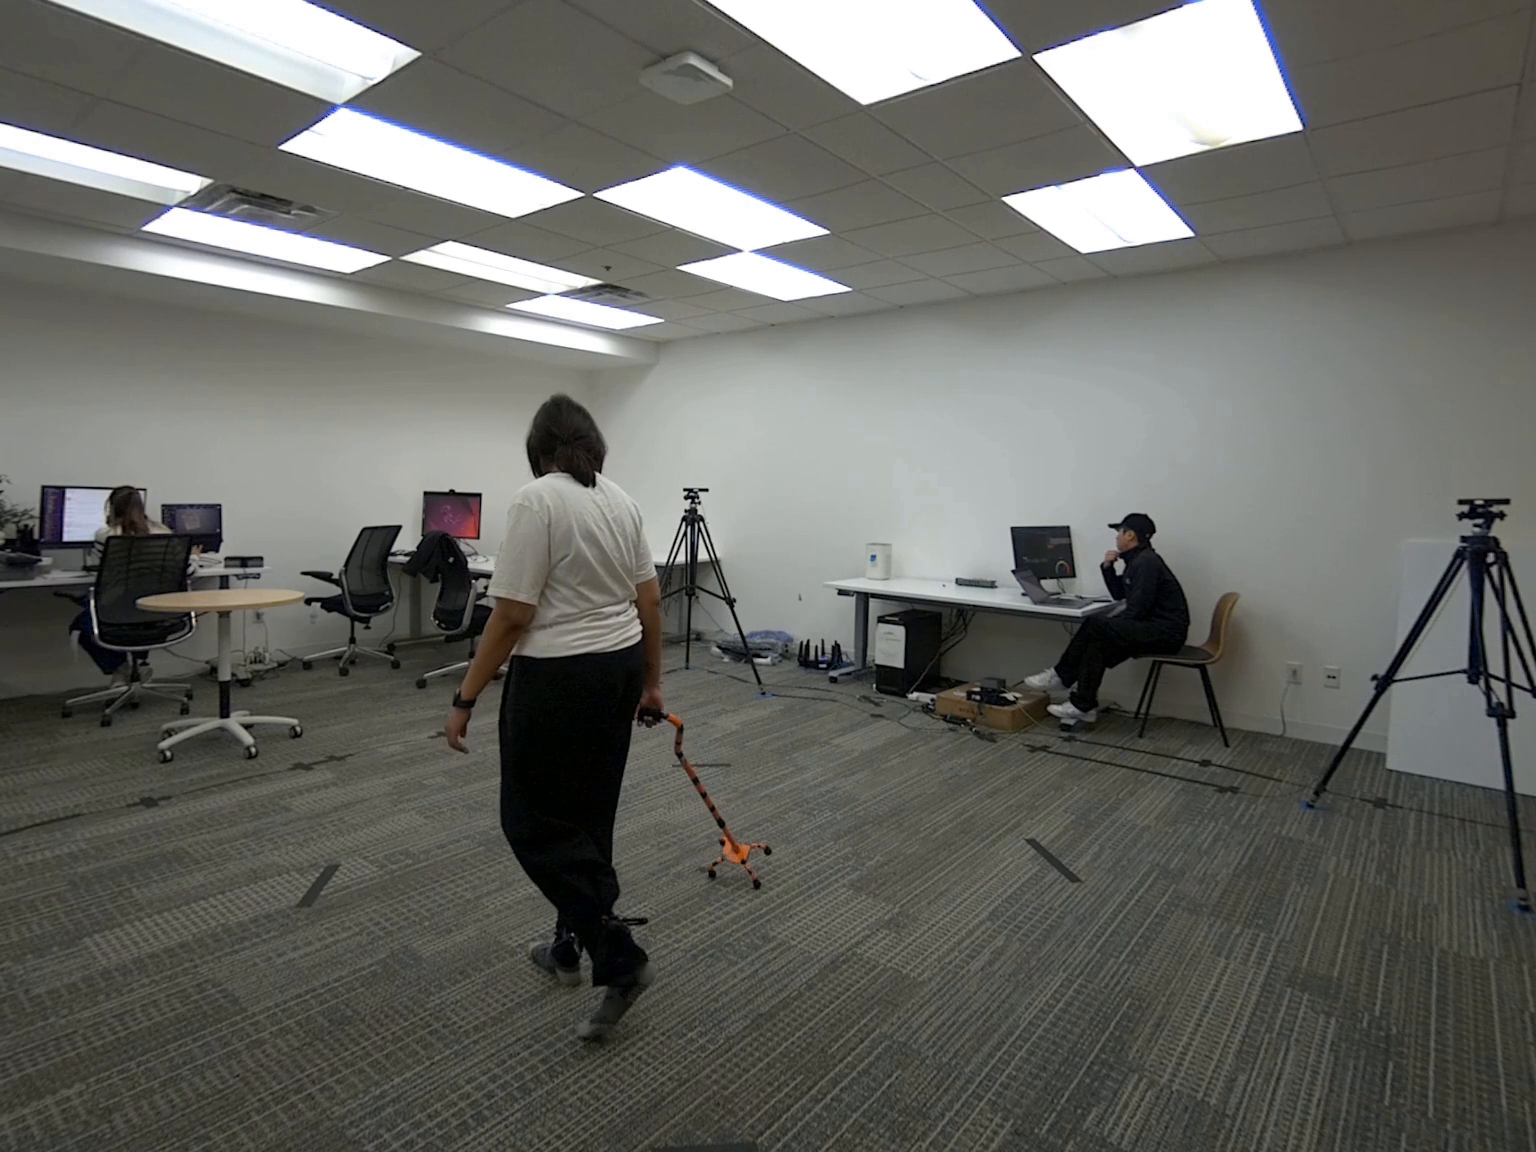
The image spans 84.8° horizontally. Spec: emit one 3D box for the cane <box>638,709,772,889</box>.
[{"bbox_3d":[-0.226,0.720,2.775,0.211,0.874,0.154,0,45,23],"label":"cane"}]
